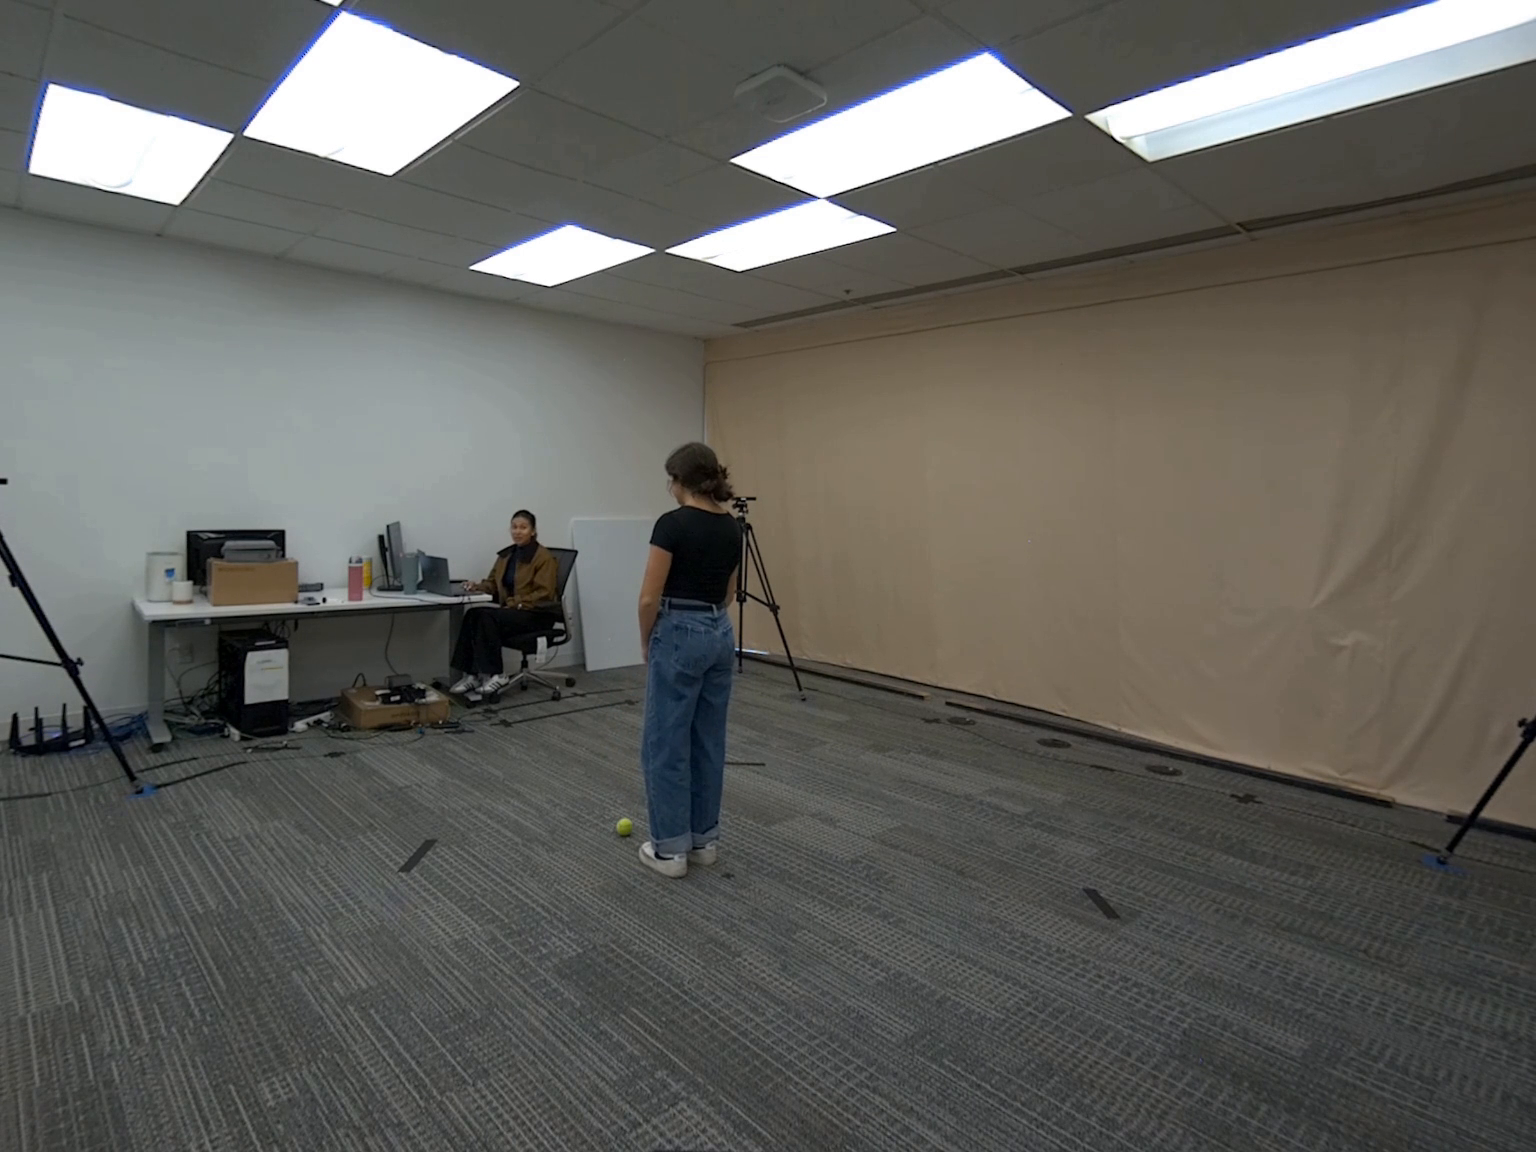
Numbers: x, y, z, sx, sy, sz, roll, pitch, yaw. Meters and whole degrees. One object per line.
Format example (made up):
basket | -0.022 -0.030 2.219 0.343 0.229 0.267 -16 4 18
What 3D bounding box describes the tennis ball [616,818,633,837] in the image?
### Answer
tennis ball | -0.604 1.020 3.454 0.066 0.066 0.067 1 4 -1
